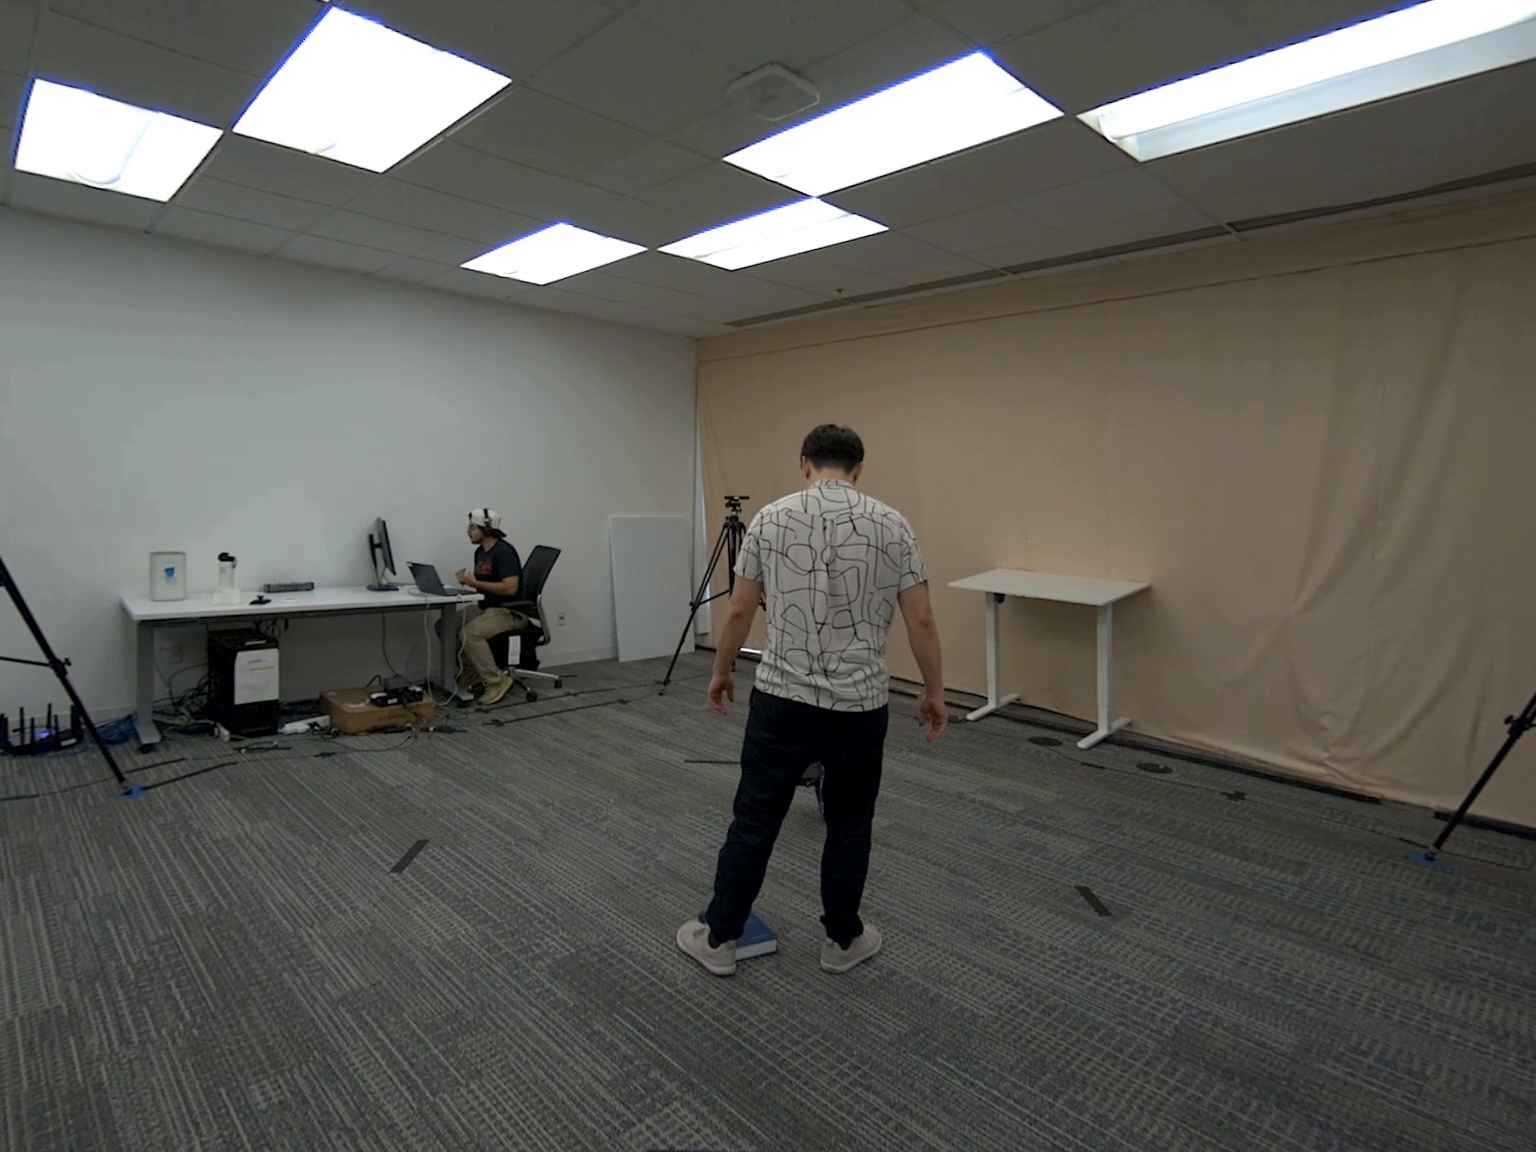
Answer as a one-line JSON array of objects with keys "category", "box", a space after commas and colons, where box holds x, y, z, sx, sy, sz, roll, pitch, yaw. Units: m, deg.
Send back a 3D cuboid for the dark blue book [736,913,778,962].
[{"category": "dark blue book", "box": [-0.095, 1.123, 2.655, 0.160, 0.045, 0.250, -1, 5, -28]}]
